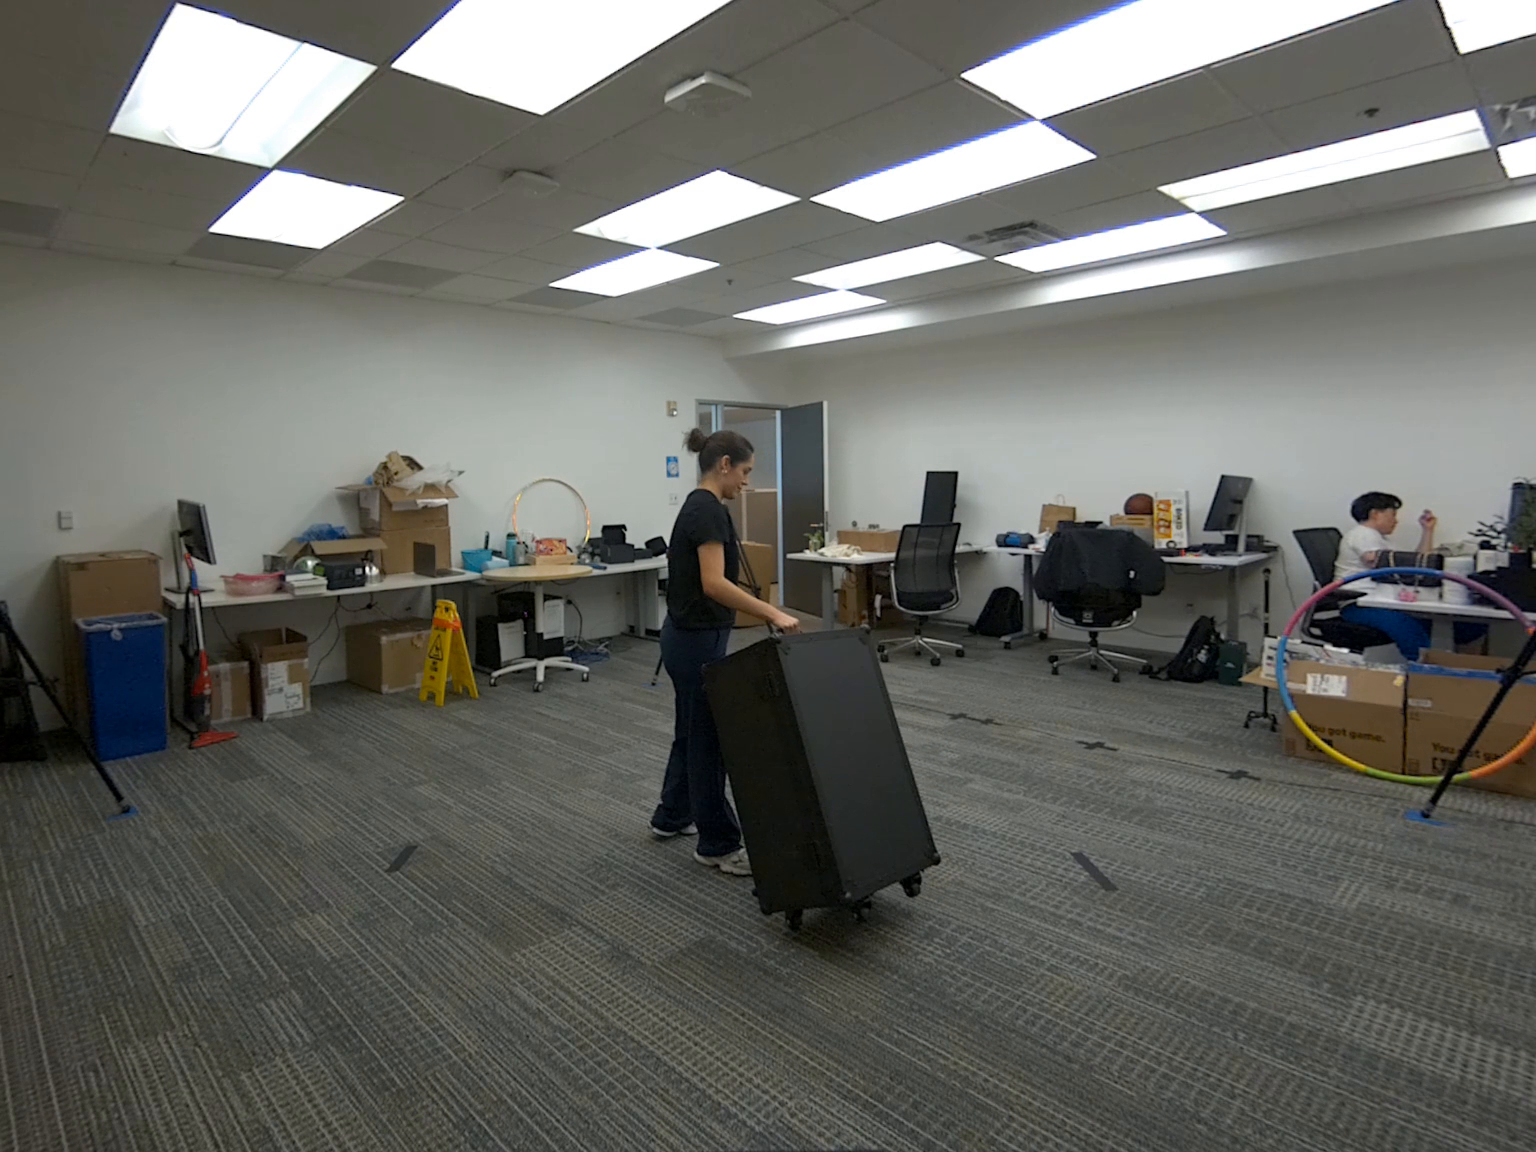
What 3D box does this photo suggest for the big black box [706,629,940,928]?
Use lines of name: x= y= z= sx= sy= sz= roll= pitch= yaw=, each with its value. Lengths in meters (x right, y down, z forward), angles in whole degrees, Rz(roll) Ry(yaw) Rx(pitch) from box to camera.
big black box: x=0.149 y=0.585 z=2.792 sx=0.506 sy=0.876 sz=0.401 roll=0 pitch=-21 yaw=-45
